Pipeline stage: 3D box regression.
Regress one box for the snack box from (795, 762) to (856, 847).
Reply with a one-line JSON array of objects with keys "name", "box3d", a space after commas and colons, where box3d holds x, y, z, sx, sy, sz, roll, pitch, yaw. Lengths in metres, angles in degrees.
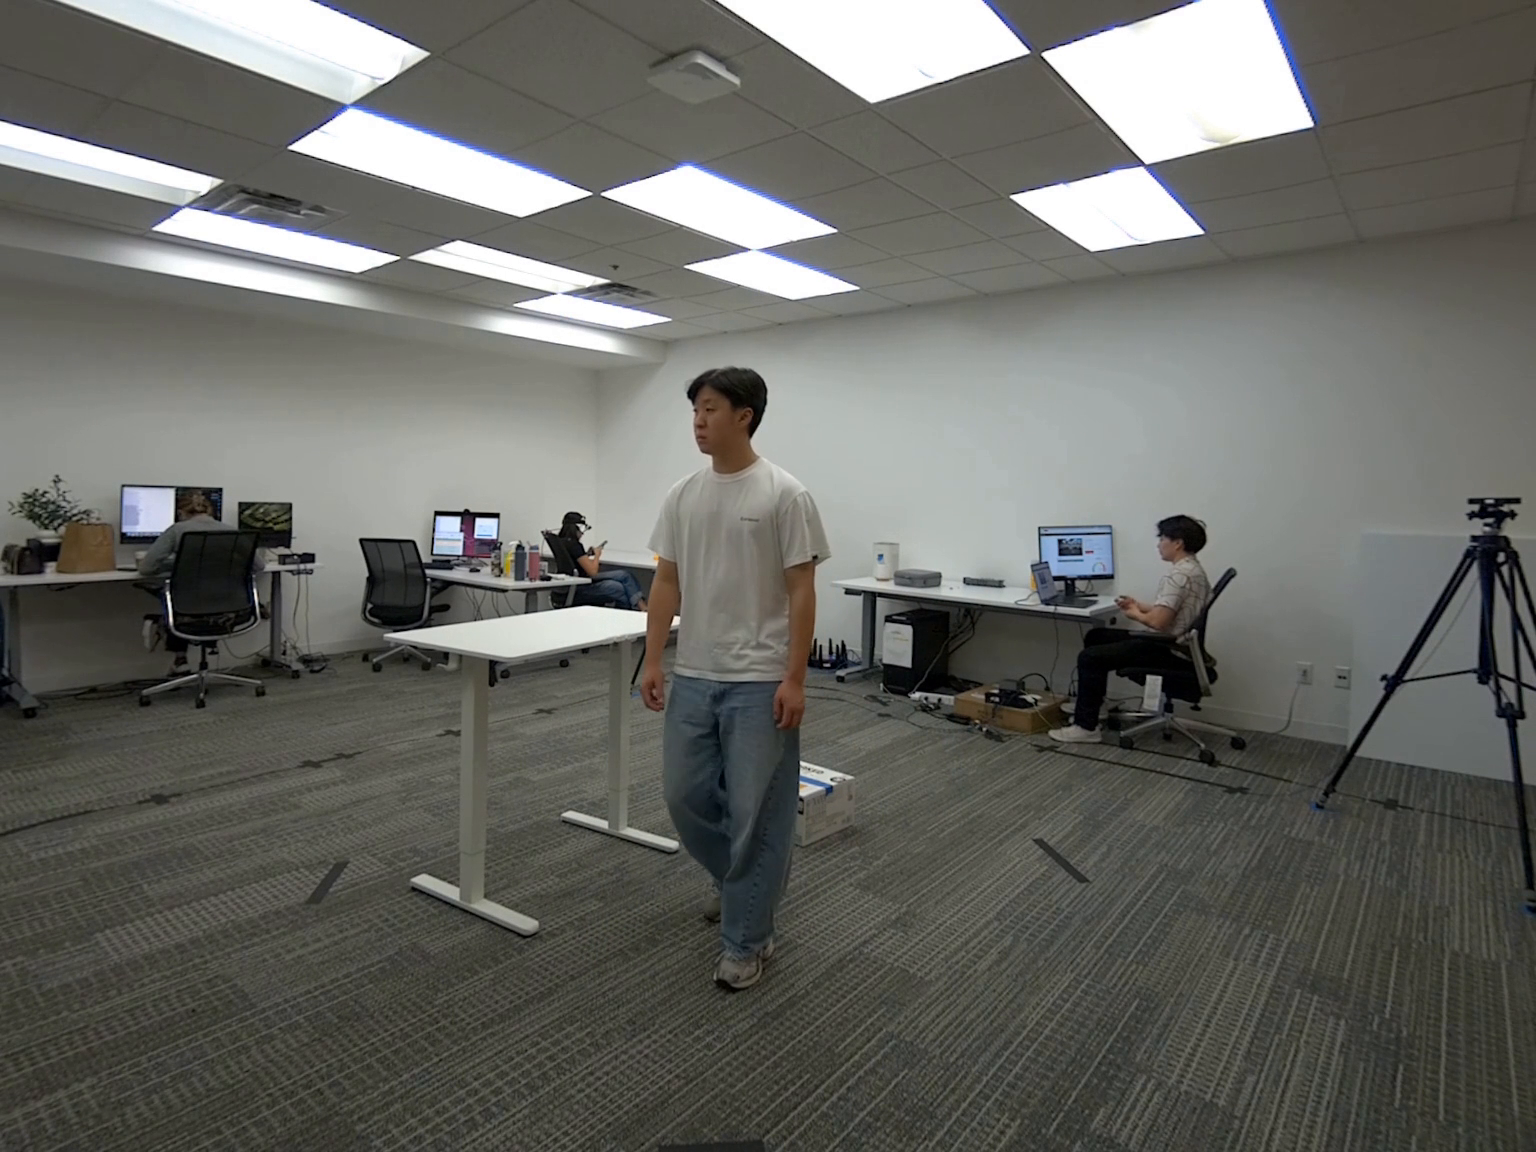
[{"name": "snack box", "box3d": [0.088, 0.926, 3.555, 0.419, 0.205, 0.330, 6, 7, 43]}]
